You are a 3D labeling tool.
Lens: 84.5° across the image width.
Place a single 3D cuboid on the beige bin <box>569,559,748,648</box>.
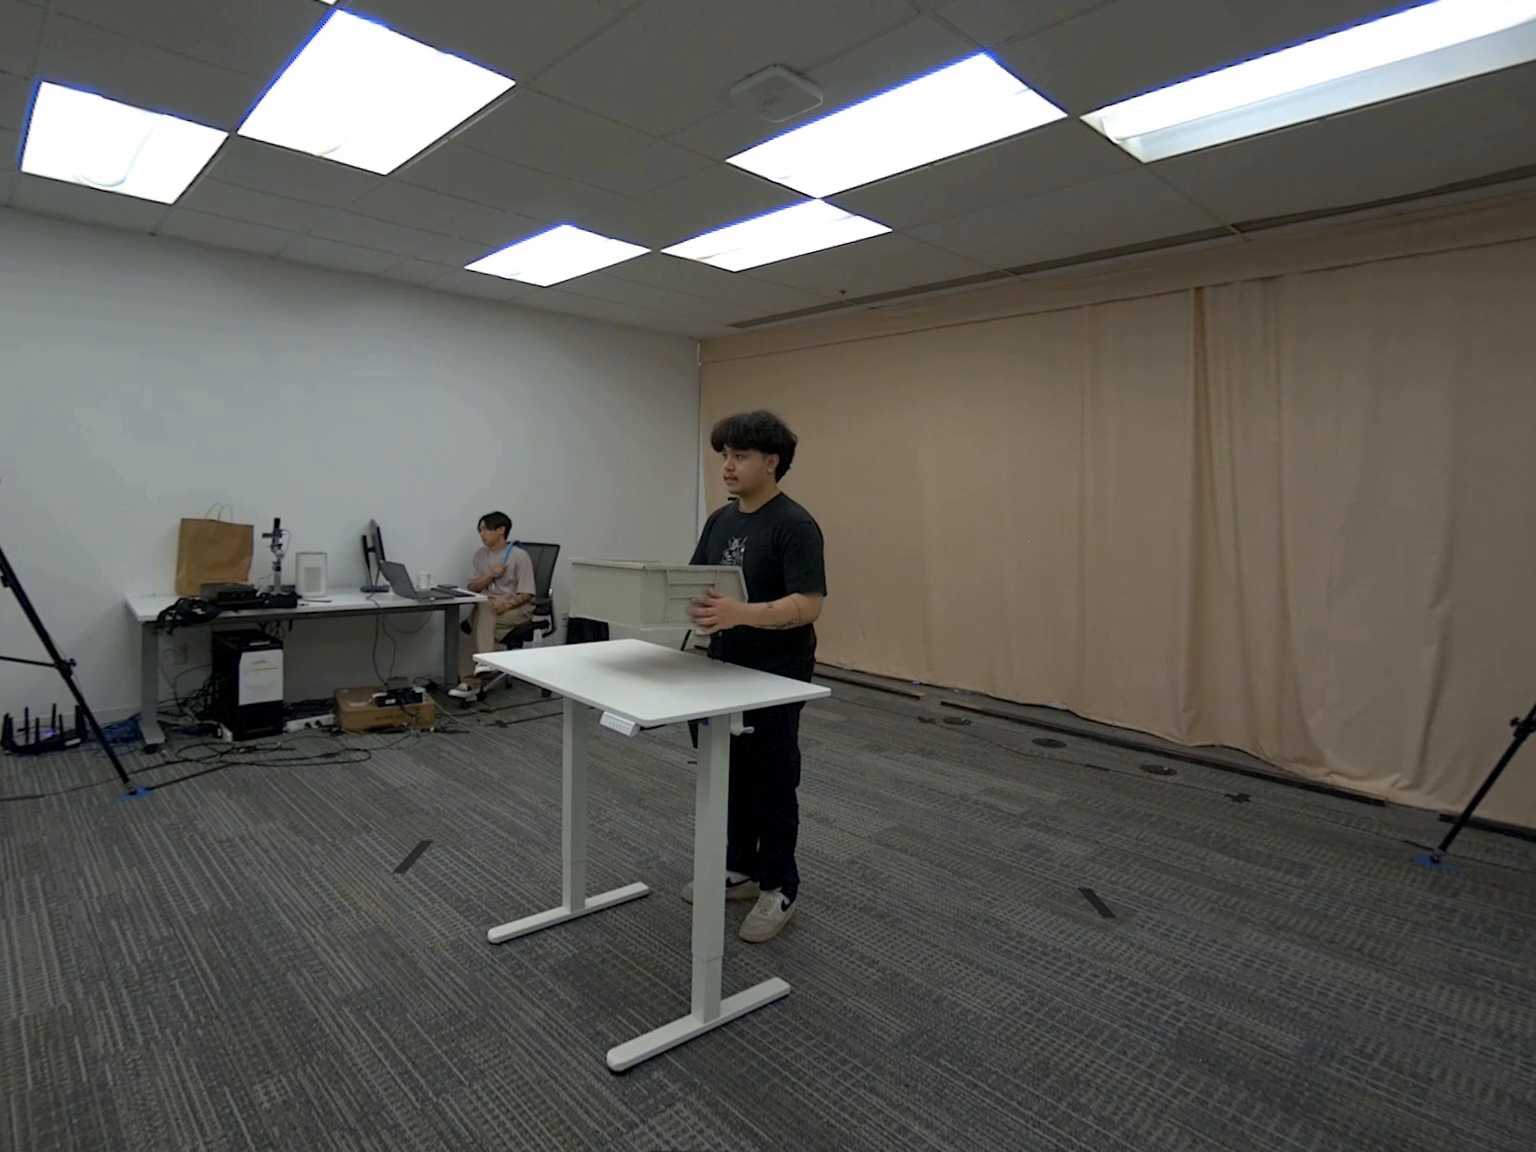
[{"bbox_3d":[-0.342,0.058,2.513,0.368,0.188,0.433,-1,4,-40],"label":"beige bin"}]
